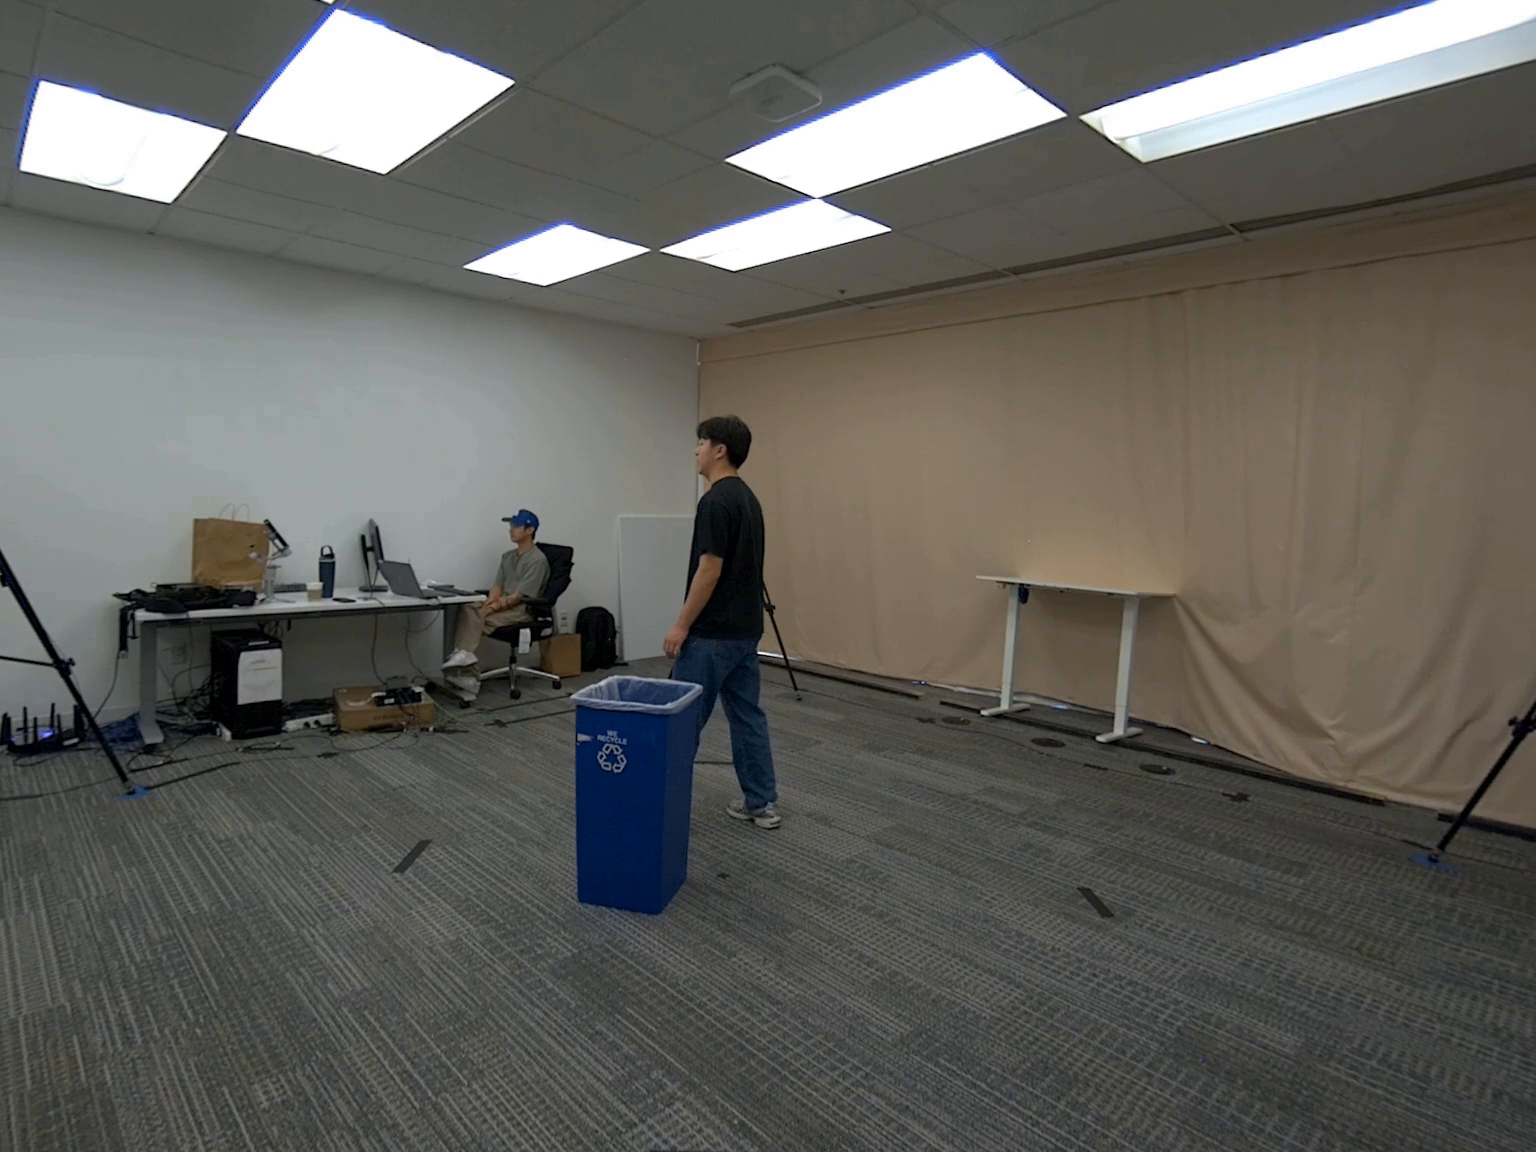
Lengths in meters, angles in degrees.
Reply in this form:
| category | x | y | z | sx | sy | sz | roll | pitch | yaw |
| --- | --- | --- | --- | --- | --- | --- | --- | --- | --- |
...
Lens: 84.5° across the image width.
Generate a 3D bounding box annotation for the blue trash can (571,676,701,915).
| category | x | y | z | sx | sy | sz | roll | pitch | yaw |
| --- | --- | --- | --- | --- | --- | --- | --- | --- | --- |
| blue trash can | -0.474 | 0.757 | 2.953 | 0.379 | 0.711 | 0.374 | 4 | 4 | 14 |
